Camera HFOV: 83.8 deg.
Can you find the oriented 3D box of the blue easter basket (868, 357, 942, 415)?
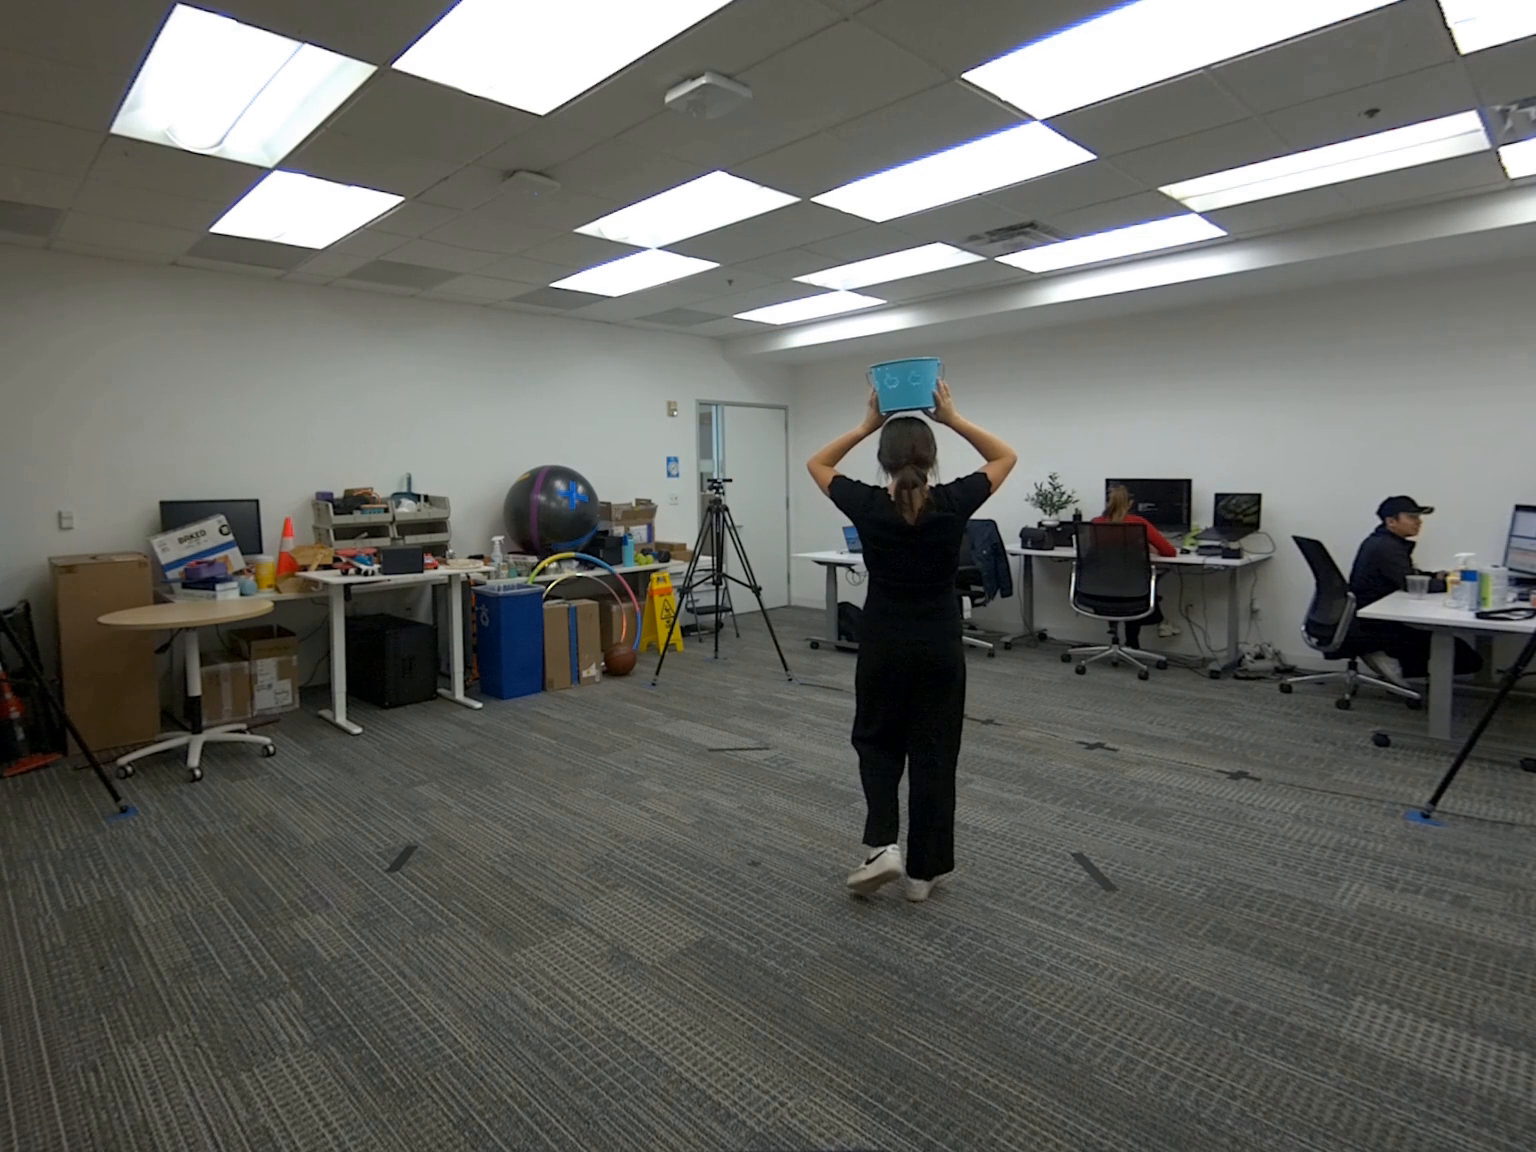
[{"bbox_3d":[0.471,-0.624,2.796,0.243,0.155,0.245,-6,8,-1],"label":"blue easter basket"}]
